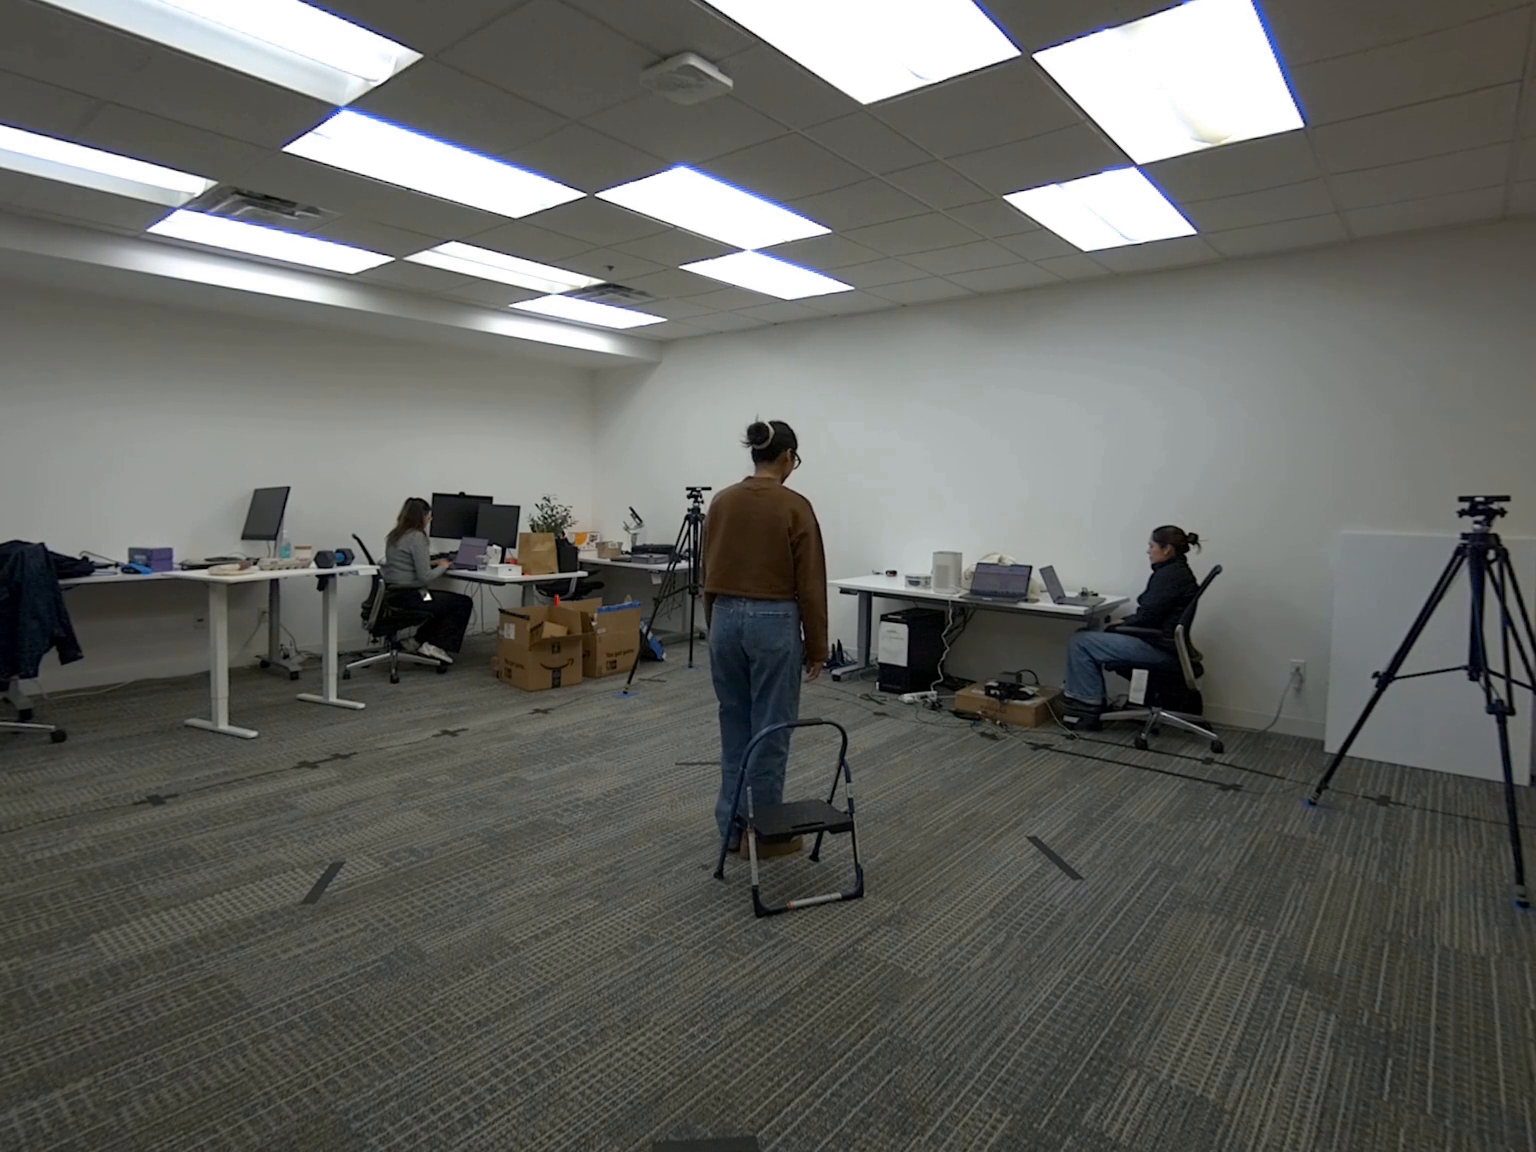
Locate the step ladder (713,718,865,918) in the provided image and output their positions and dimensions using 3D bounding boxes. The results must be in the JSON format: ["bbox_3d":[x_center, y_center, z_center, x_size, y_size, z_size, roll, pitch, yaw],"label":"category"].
[{"bbox_3d":[0.069,0.782,2.977,0.420,0.605,0.359,0,3,-26],"label":"step ladder"}]
